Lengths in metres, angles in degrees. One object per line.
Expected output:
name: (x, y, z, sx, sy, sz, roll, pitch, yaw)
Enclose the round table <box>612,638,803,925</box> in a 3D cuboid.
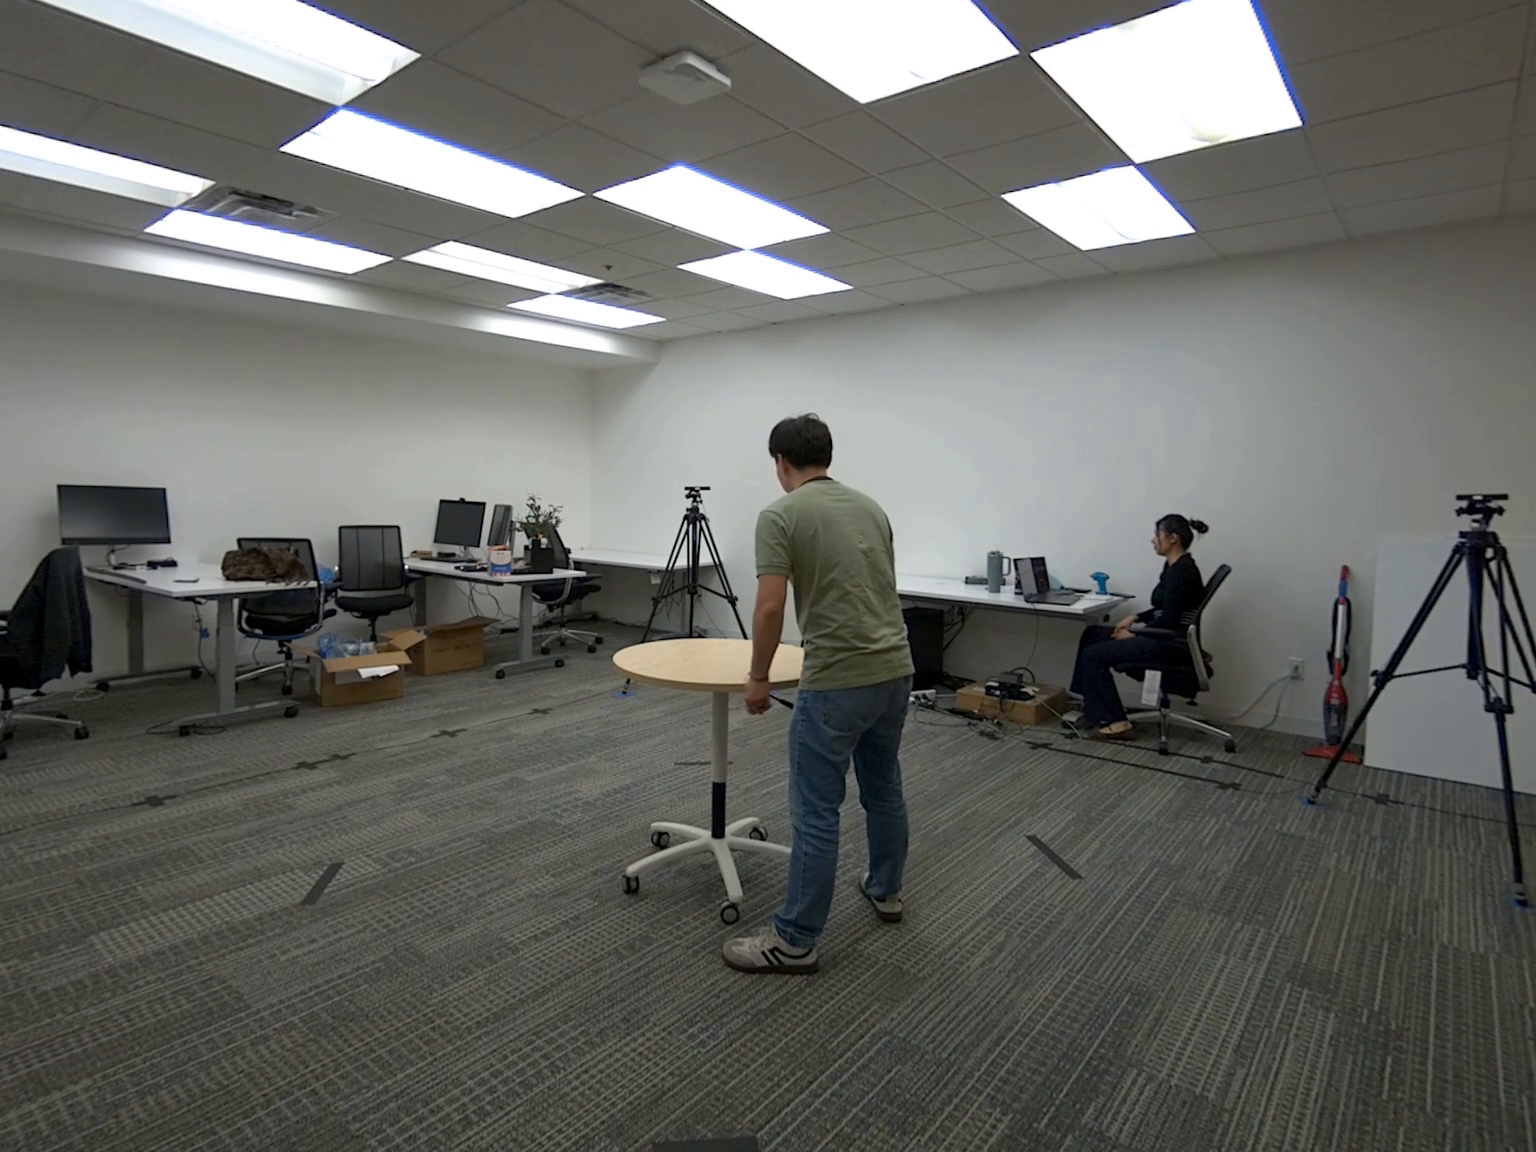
round table: (-0.182, 0.682, 3.031, 0.763, 0.791, 0.768, 1, 4, -2)
